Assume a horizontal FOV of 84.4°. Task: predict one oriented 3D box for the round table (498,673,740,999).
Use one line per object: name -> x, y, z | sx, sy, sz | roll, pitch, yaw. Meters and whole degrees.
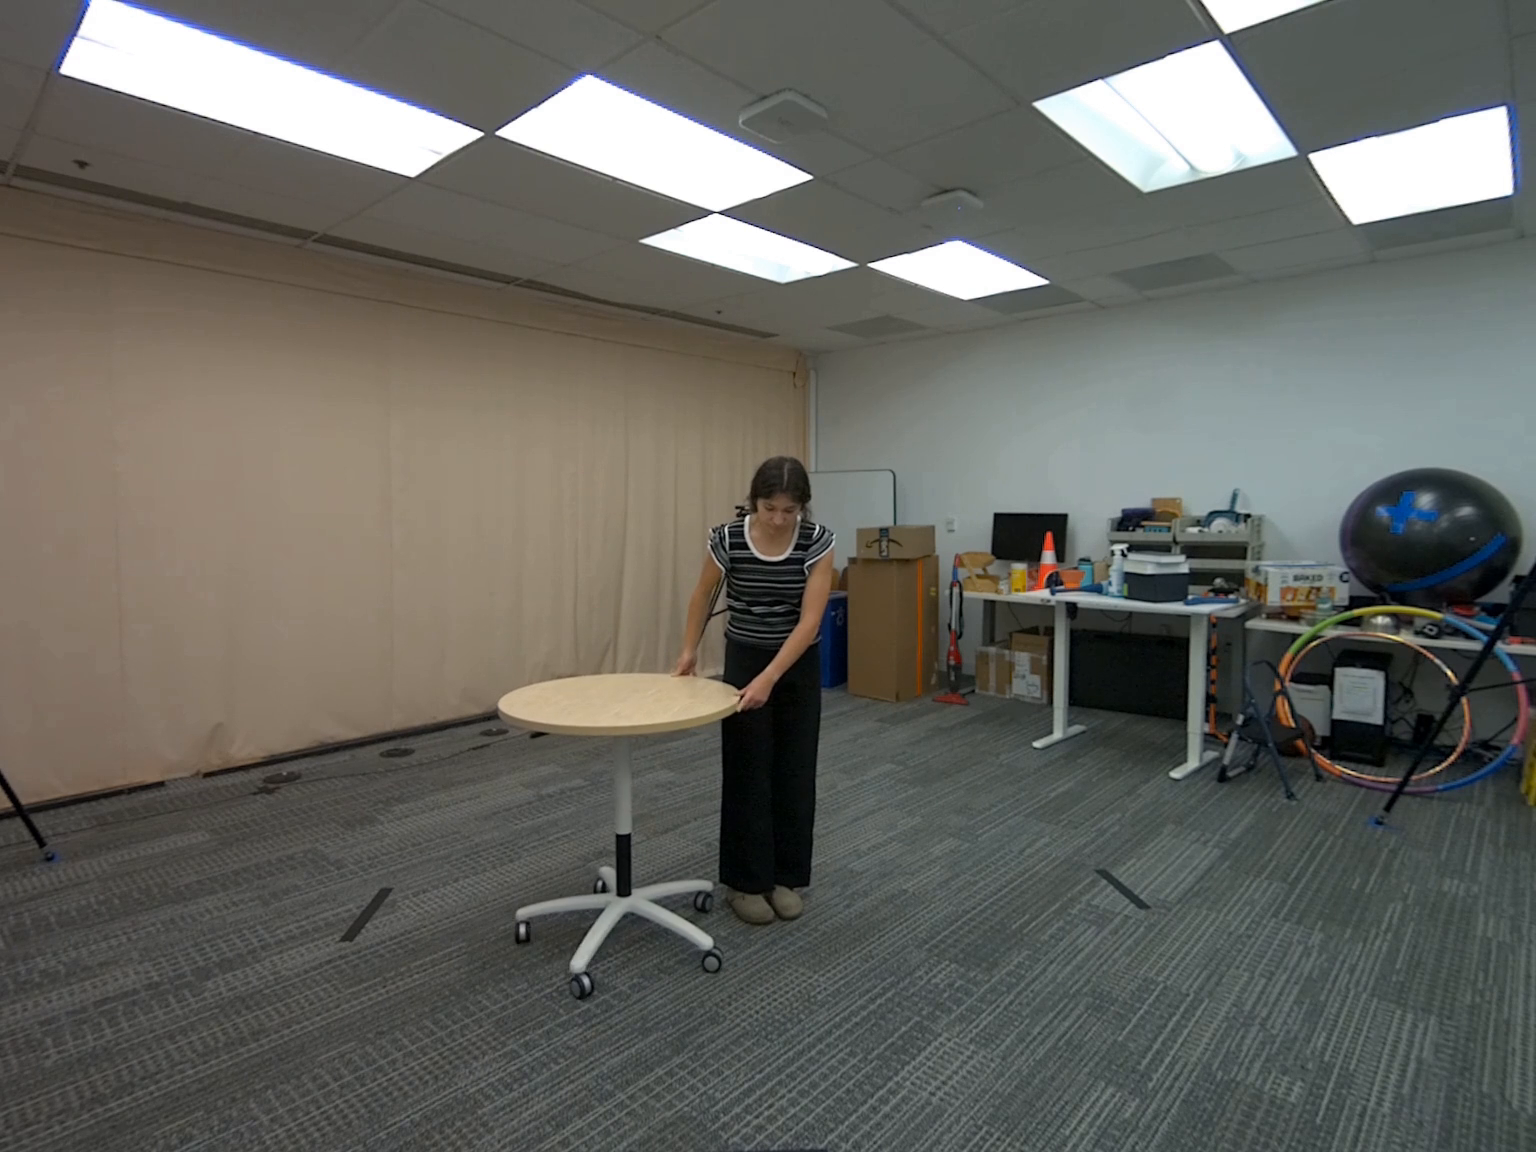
round table -> -0.450, 0.776, 2.706 | 0.784, 0.785, 0.788 | -1, 3, -2
